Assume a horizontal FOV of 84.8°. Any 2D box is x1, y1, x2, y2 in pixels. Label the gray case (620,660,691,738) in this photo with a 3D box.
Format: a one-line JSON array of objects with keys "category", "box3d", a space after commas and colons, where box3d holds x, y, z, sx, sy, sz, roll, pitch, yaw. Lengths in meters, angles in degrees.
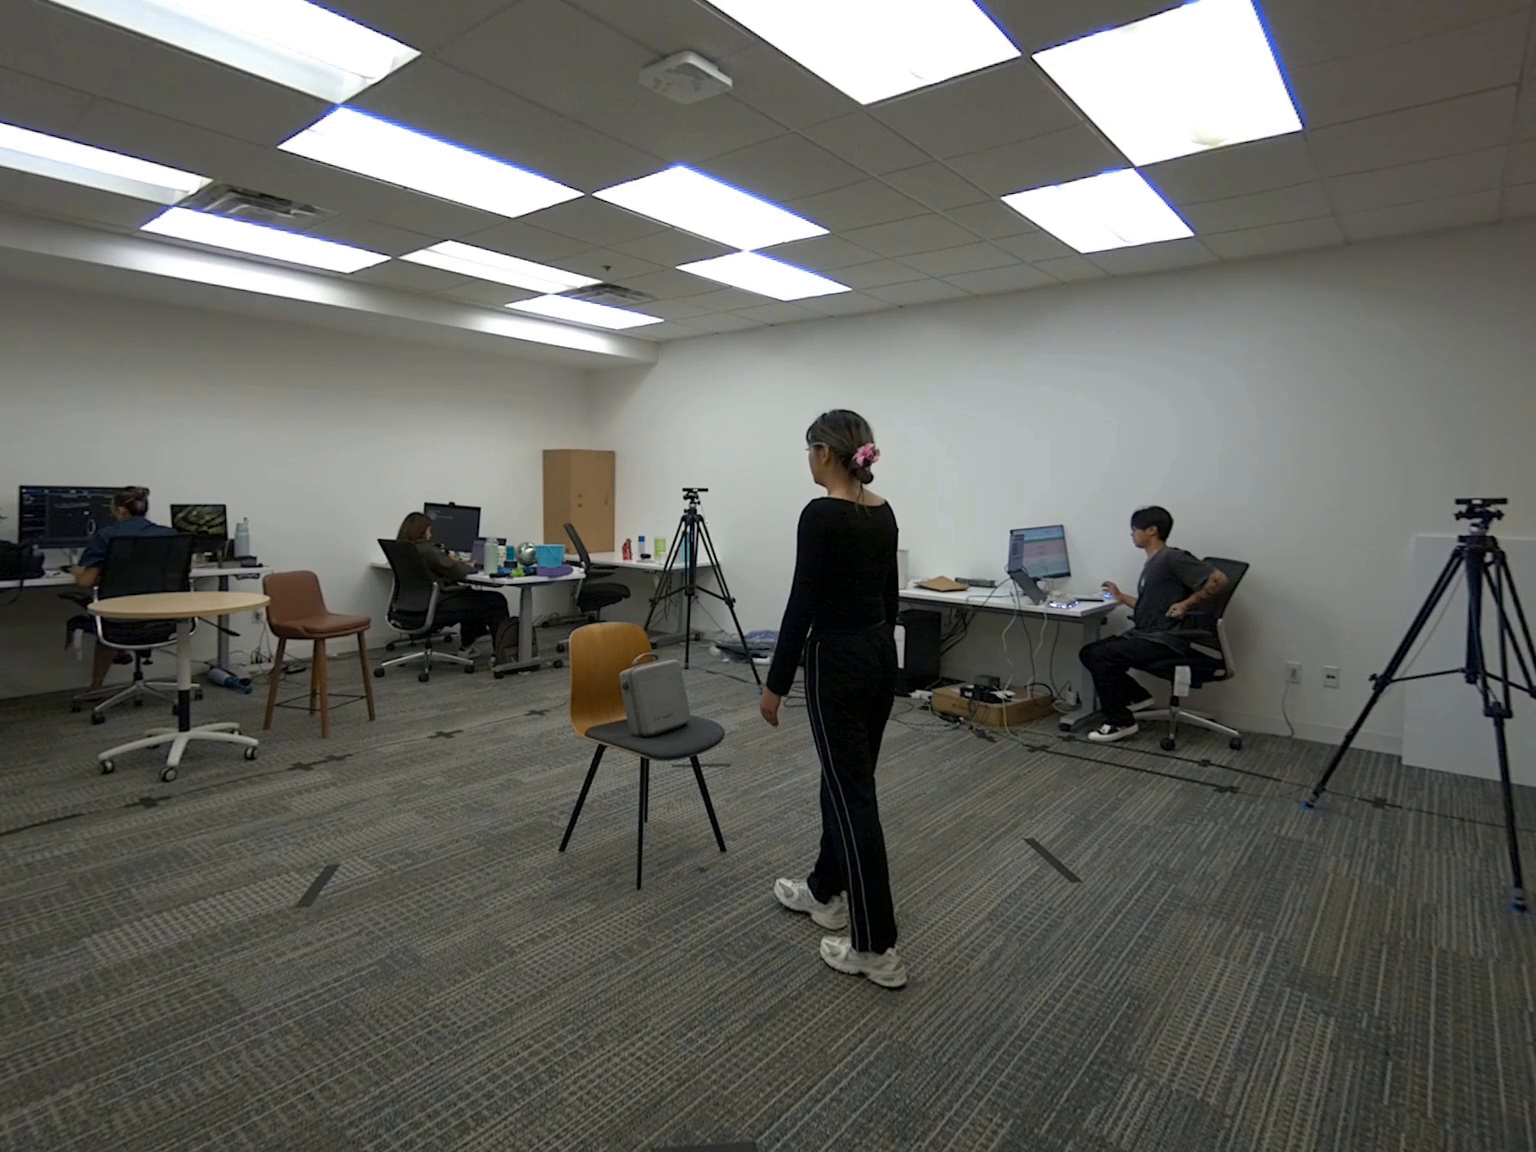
[{"category": "gray case", "box3d": [-0.441, 0.444, 3.201, 0.107, 0.262, 0.249, -15, -7, 39]}]
